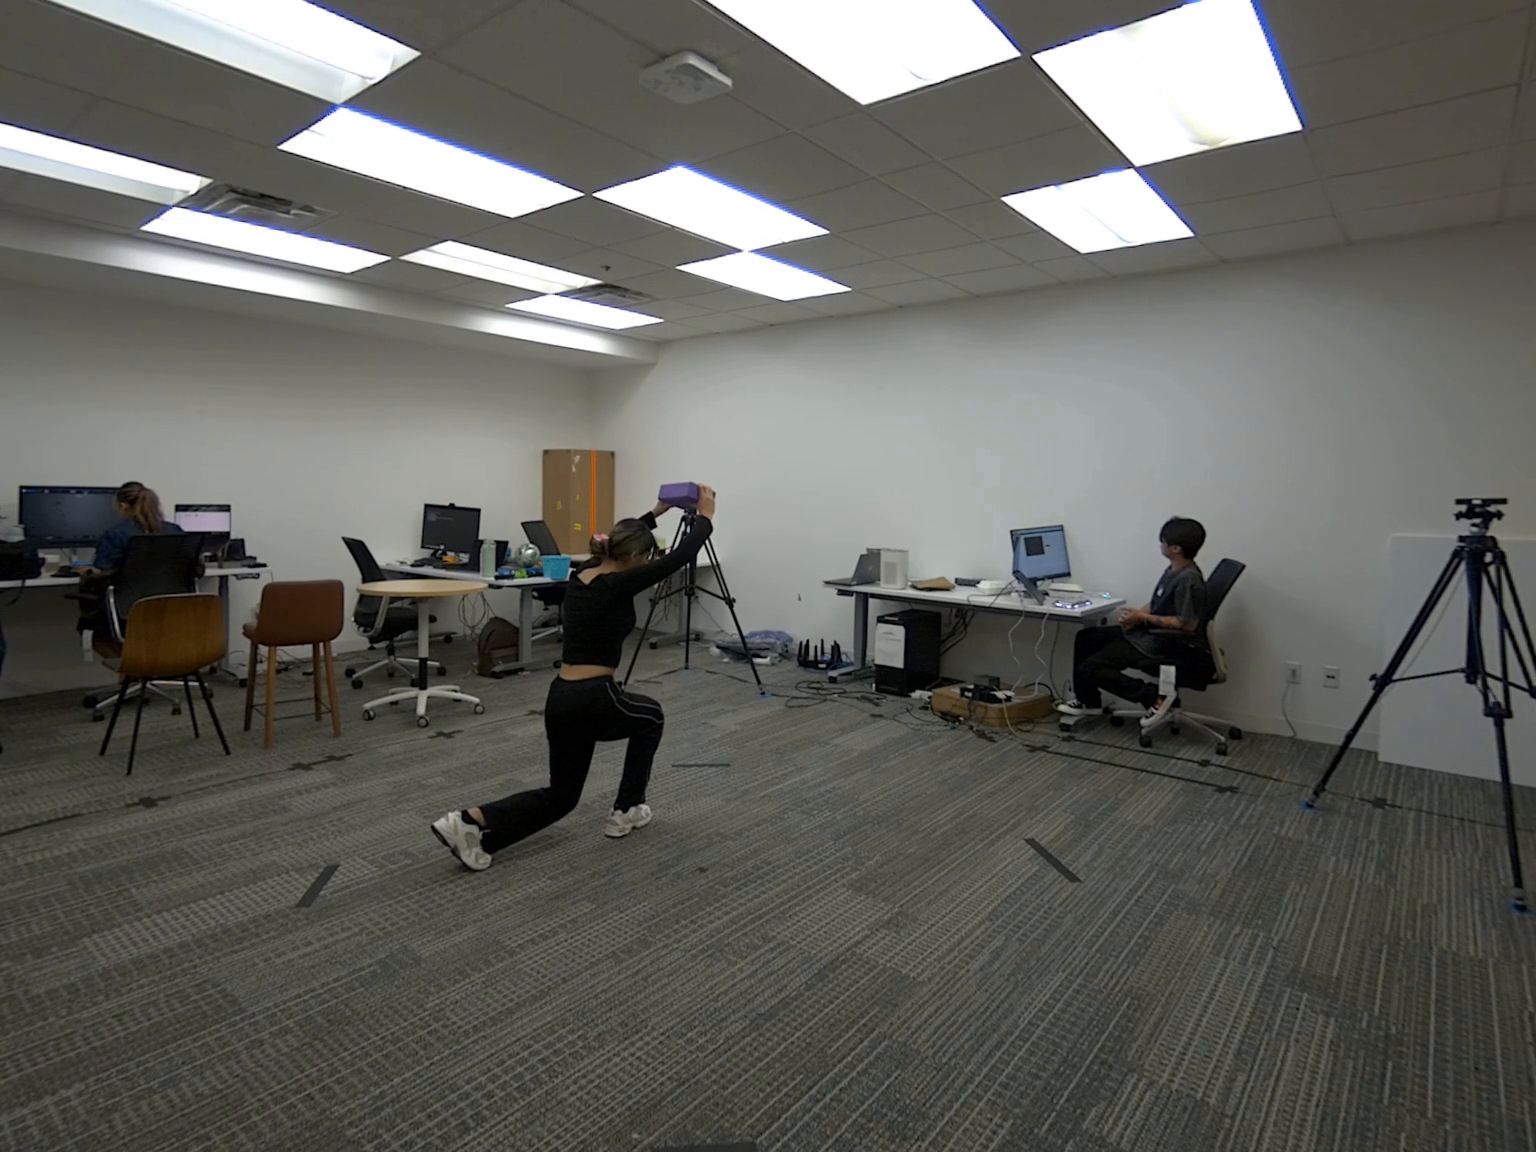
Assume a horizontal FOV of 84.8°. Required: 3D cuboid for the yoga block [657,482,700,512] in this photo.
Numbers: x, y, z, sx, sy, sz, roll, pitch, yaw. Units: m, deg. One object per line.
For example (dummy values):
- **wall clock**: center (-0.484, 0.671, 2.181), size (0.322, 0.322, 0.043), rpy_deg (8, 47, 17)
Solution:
- **yoga block**: center (-0.368, -0.352, 3.681), size (0.143, 0.077, 0.236), rpy_deg (21, -12, -36)
